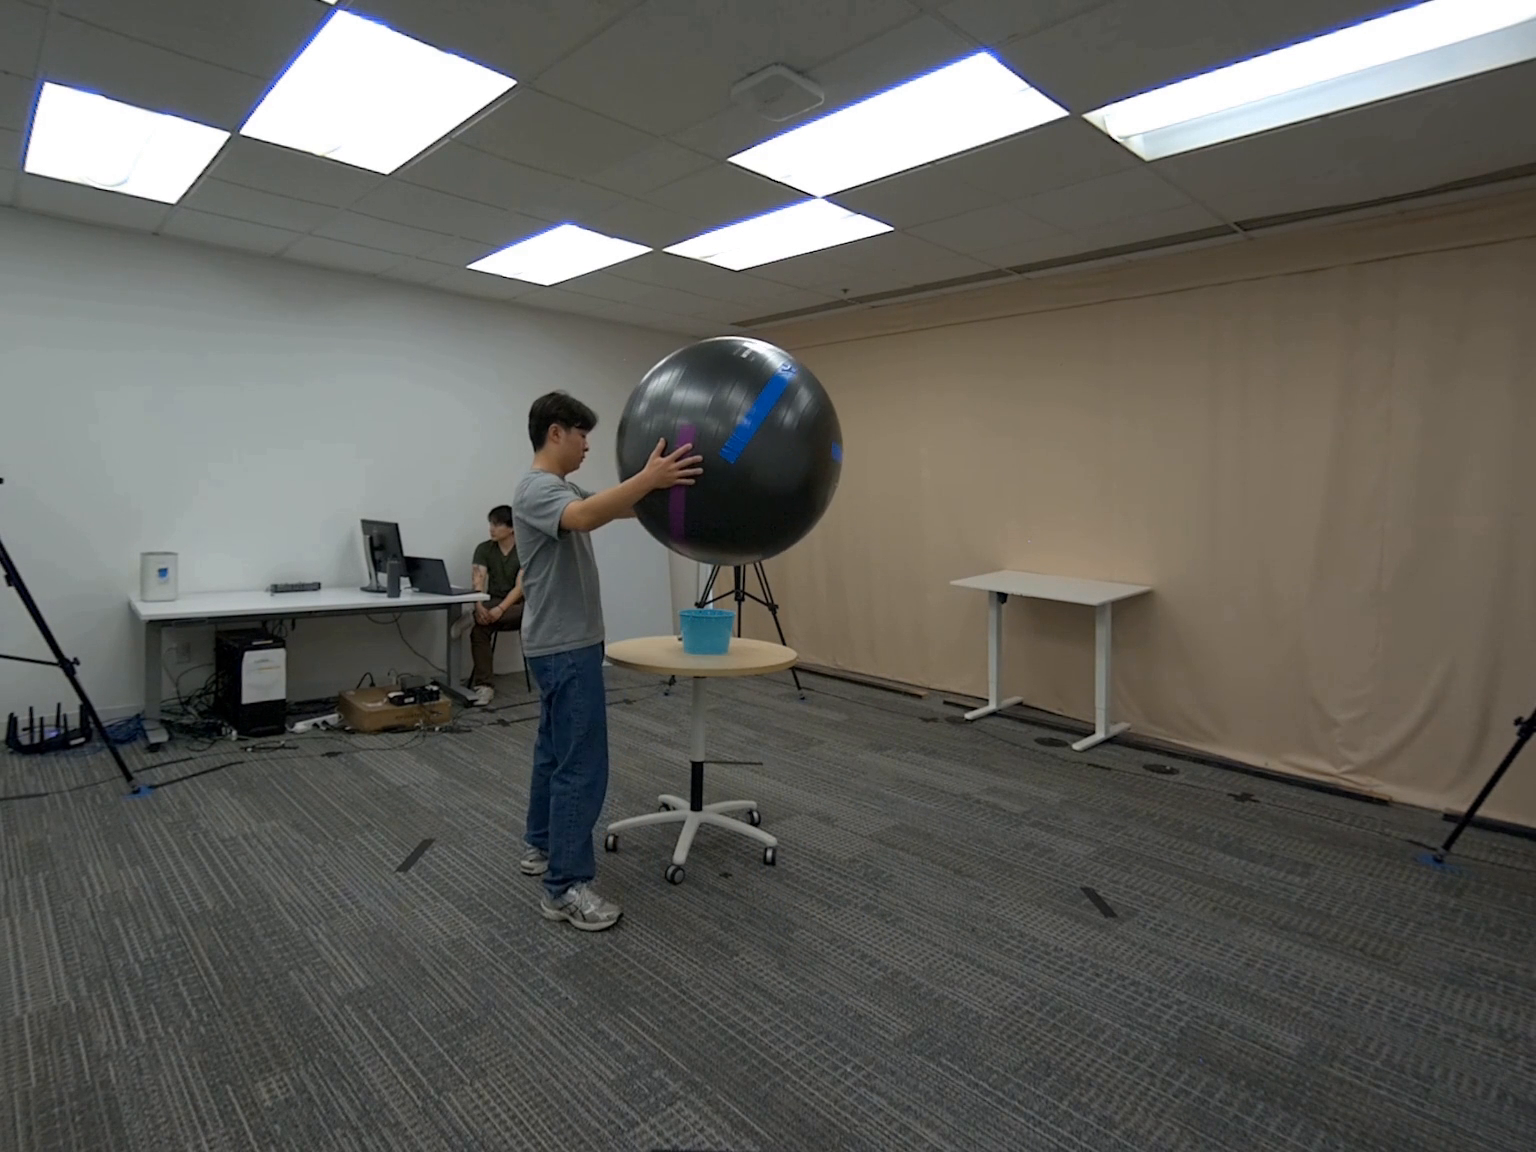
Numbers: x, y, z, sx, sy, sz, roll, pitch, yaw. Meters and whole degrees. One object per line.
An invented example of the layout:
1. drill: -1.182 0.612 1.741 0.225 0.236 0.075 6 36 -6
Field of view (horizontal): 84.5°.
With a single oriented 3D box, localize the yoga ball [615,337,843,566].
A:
1. yoga ball: -0.133 -0.414 2.839 0.757 0.756 0.761 1 4 -1
